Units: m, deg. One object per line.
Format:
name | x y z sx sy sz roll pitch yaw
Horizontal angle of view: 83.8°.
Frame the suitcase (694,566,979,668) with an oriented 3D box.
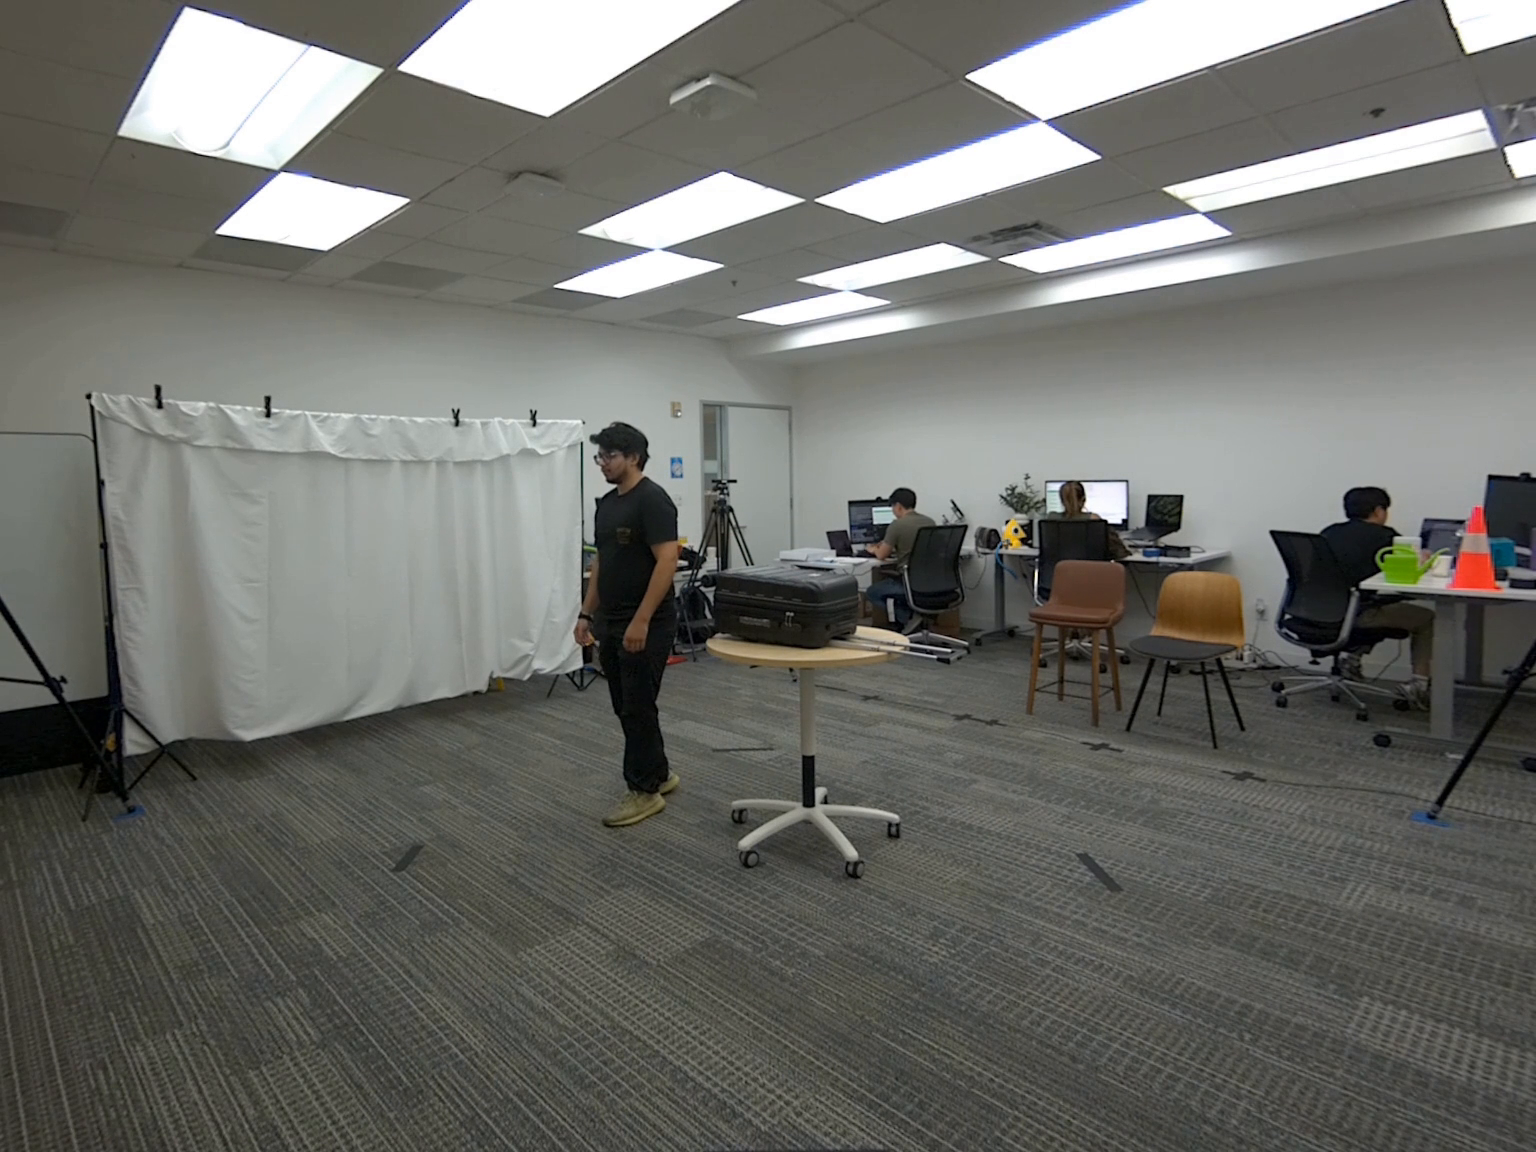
suitcase | 0.229 0.124 3.171 1.007 0.256 0.374 3 6 36
